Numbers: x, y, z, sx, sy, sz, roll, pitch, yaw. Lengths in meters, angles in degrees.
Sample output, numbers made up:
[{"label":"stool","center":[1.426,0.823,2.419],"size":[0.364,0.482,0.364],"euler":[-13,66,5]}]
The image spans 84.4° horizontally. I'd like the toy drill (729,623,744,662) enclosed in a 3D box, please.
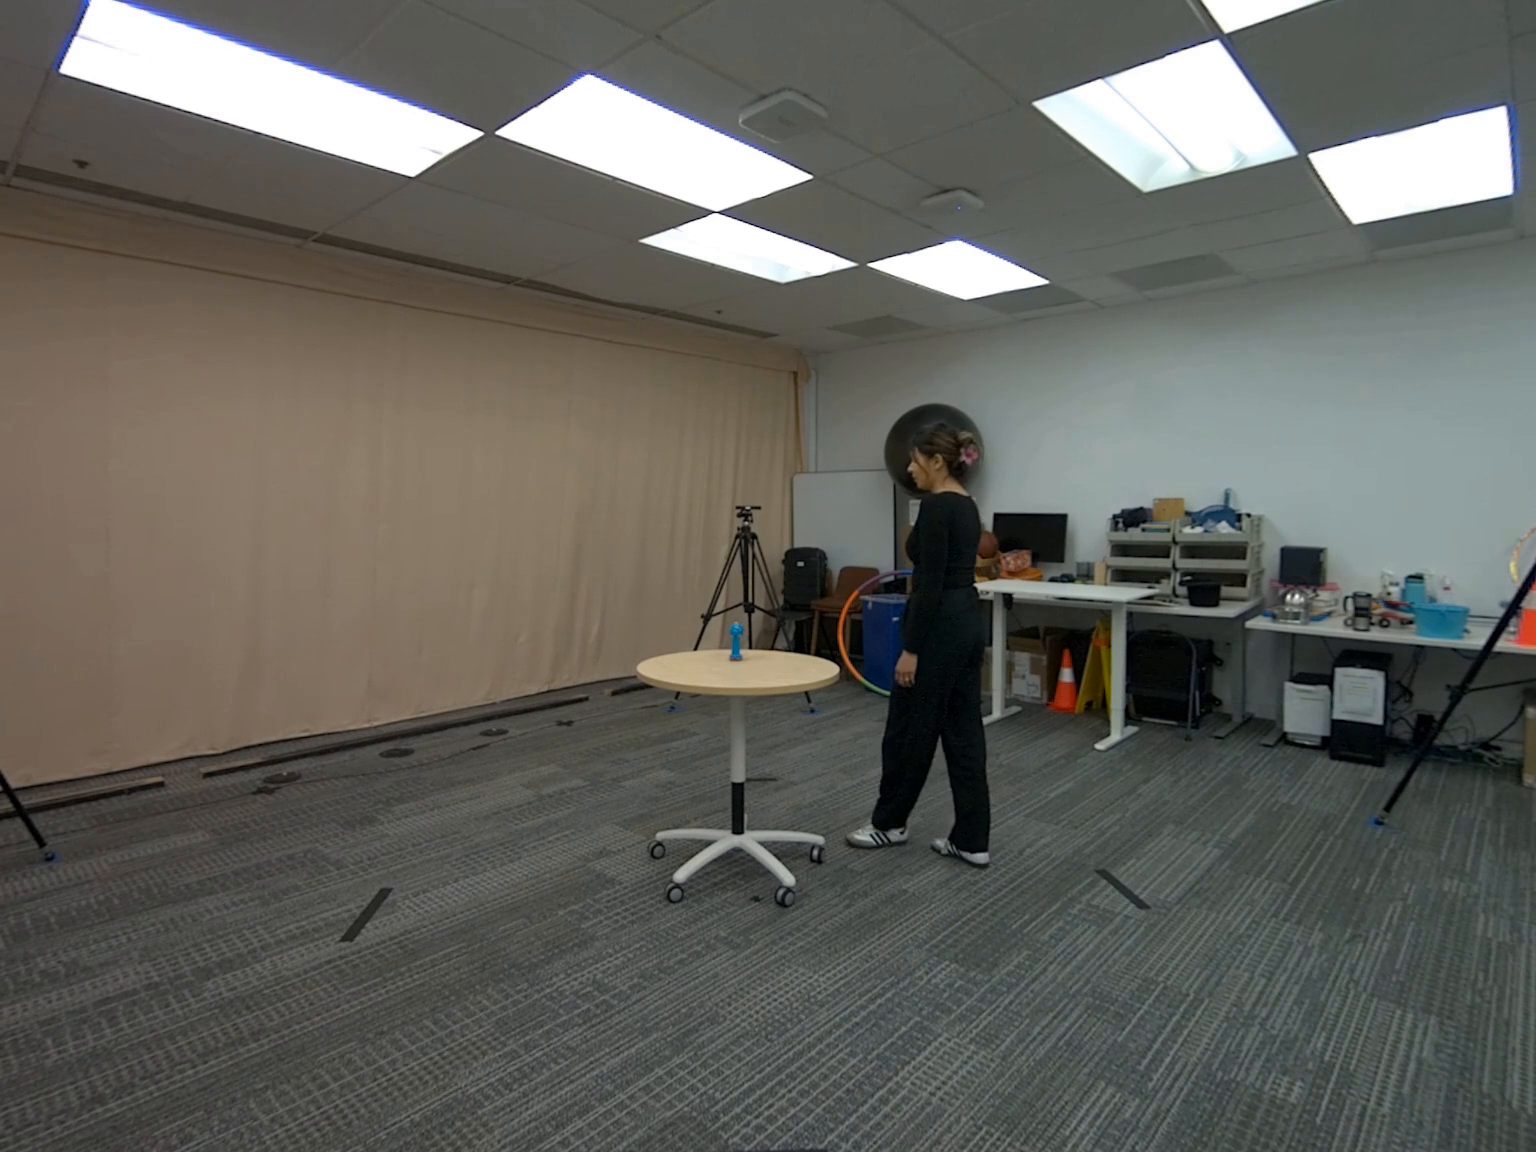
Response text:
[{"label":"toy drill","center":[-0.121,0.258,3.383],"size":[0.061,0.145,0.170],"euler":[3,6,-1]}]
